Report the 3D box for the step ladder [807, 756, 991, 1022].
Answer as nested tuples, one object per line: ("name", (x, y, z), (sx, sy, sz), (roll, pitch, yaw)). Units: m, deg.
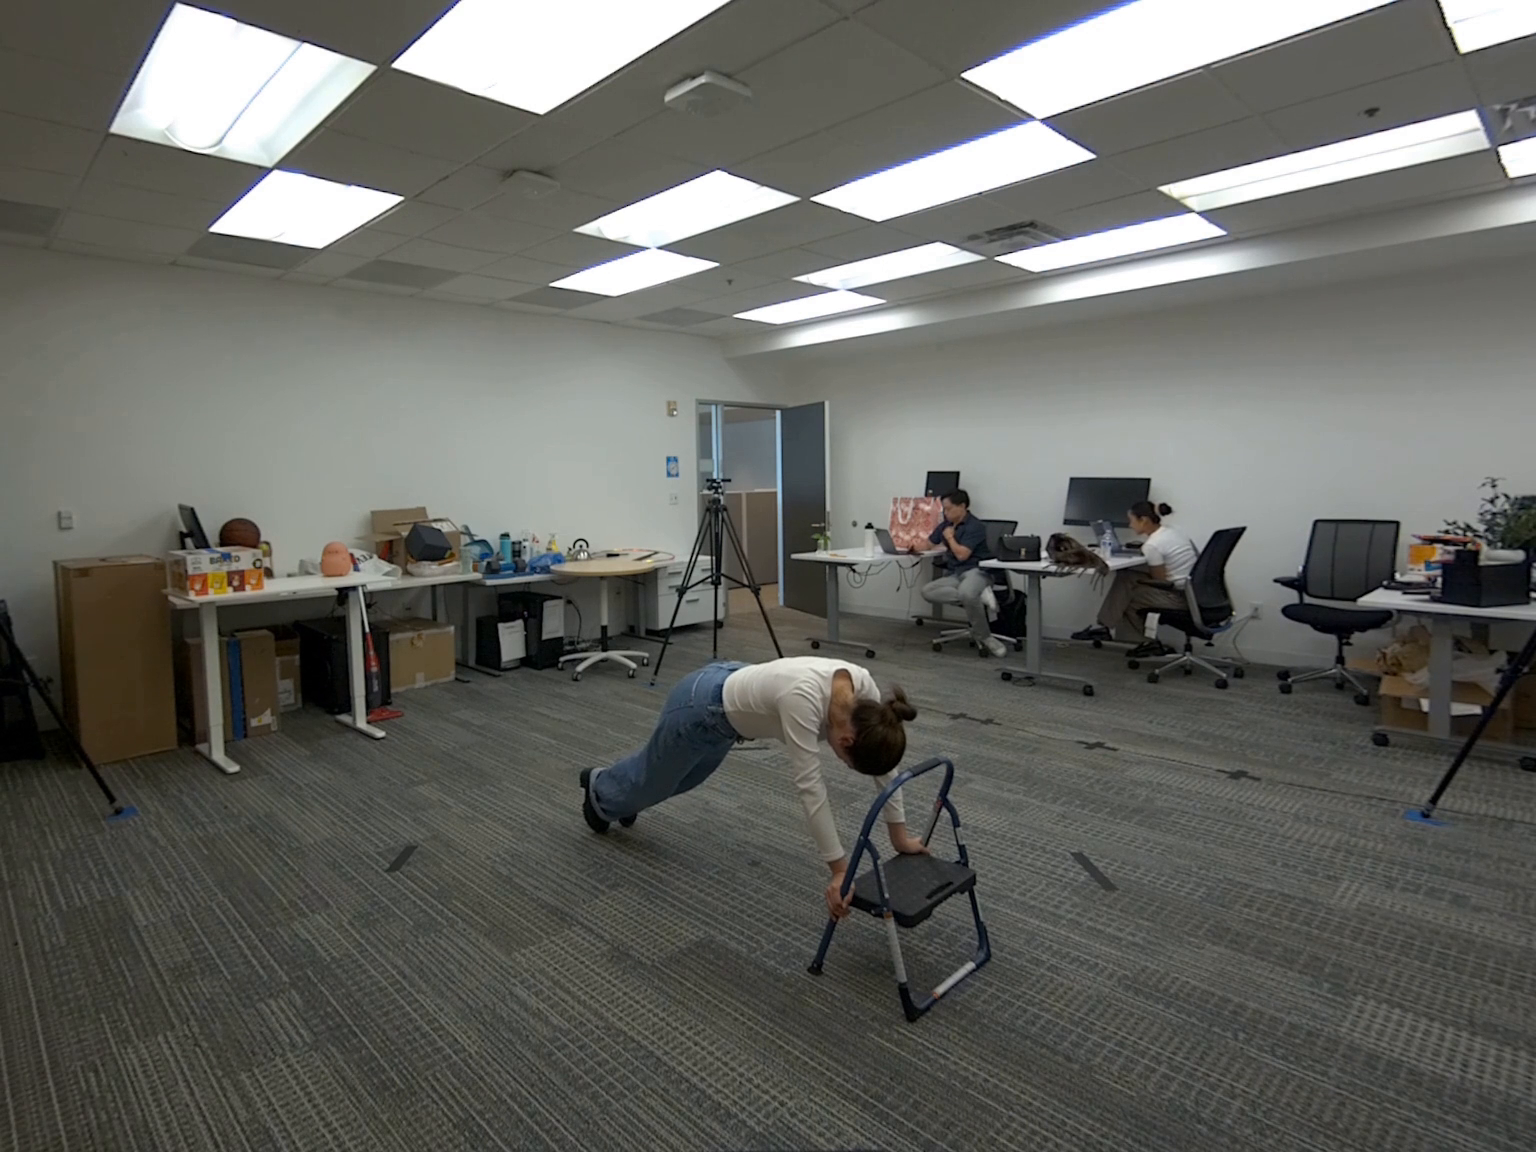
("step ladder", (0.383, 0.814, 2.426), (0.360, 0.604, 0.419), (3, 6, 43))
